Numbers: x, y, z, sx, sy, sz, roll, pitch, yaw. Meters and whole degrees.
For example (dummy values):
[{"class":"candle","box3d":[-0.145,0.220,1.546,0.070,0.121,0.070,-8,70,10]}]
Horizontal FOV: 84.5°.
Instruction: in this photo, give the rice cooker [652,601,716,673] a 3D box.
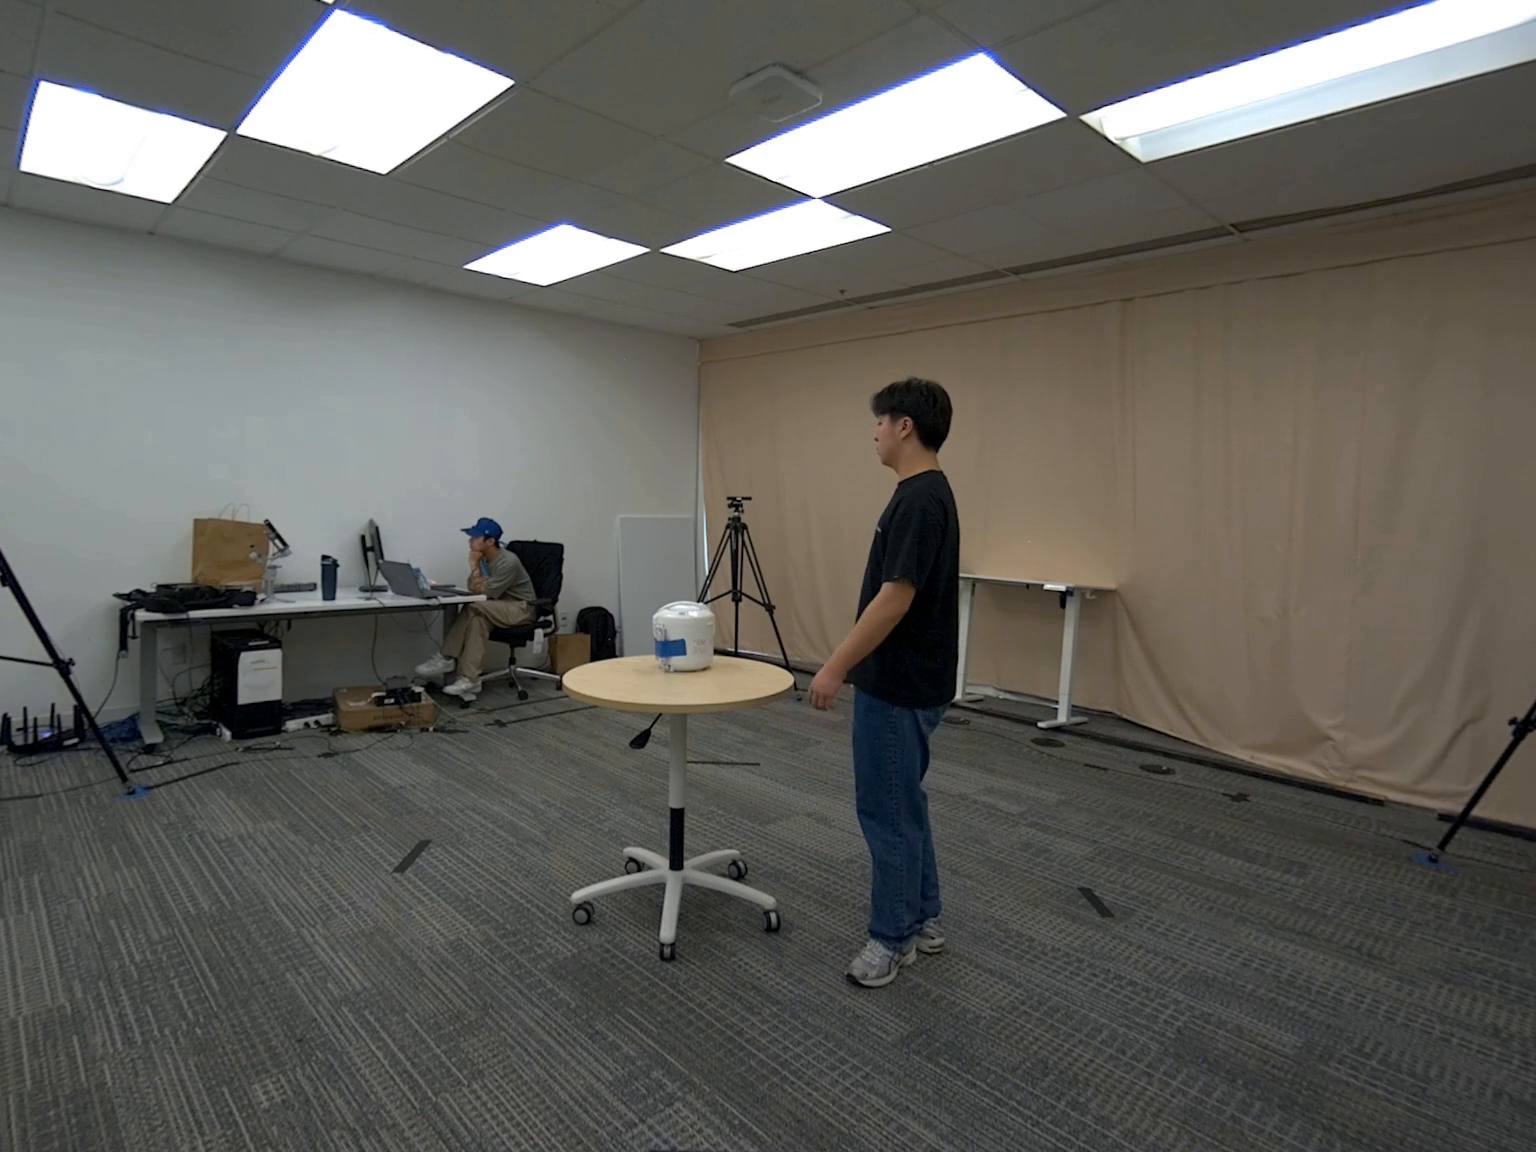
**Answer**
[{"class":"rice cooker","box3d":[-0.297,0.202,2.952,0.219,0.232,0.220,0,4,-10]}]
